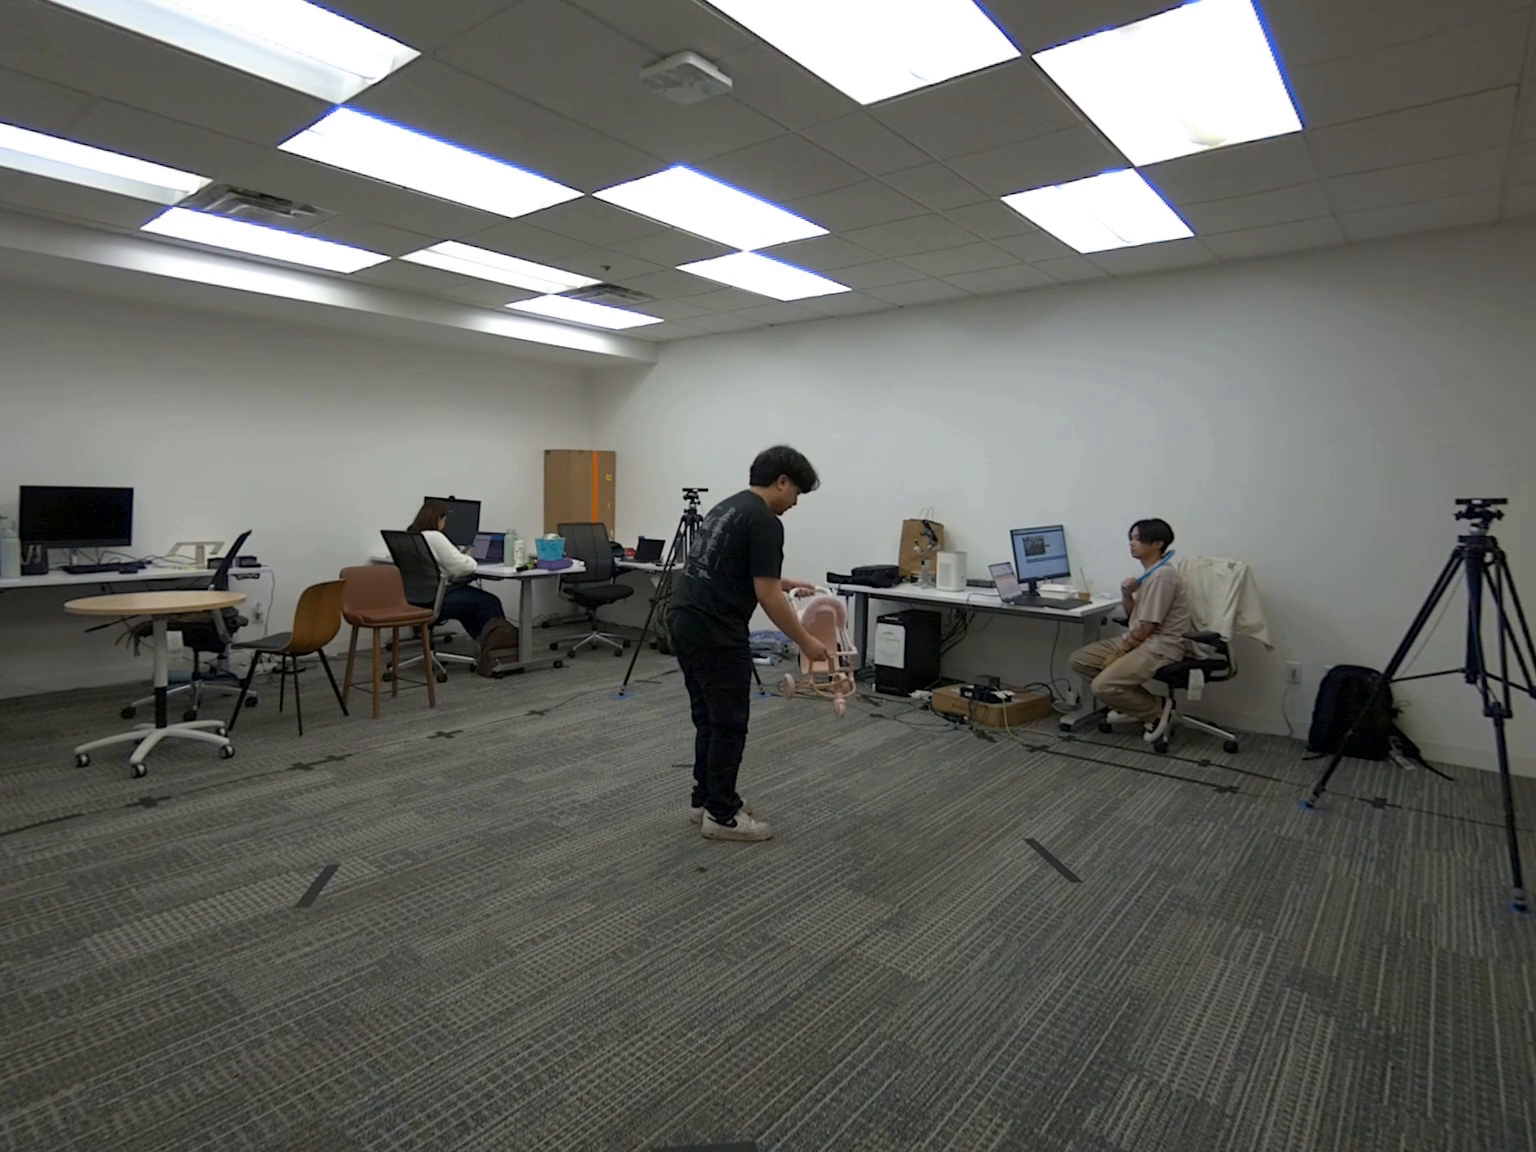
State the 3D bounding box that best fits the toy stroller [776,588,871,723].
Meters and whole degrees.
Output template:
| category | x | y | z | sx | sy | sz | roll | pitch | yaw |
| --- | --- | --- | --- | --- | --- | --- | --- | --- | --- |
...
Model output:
| category | x | y | z | sx | sy | sz | roll | pitch | yaw |
| --- | --- | --- | --- | --- | --- | --- | --- | --- | --- |
| toy stroller | 0.224 | 0.327 | 3.591 | 0.277 | 0.538 | 0.345 | 0 | -6 | -16 |
